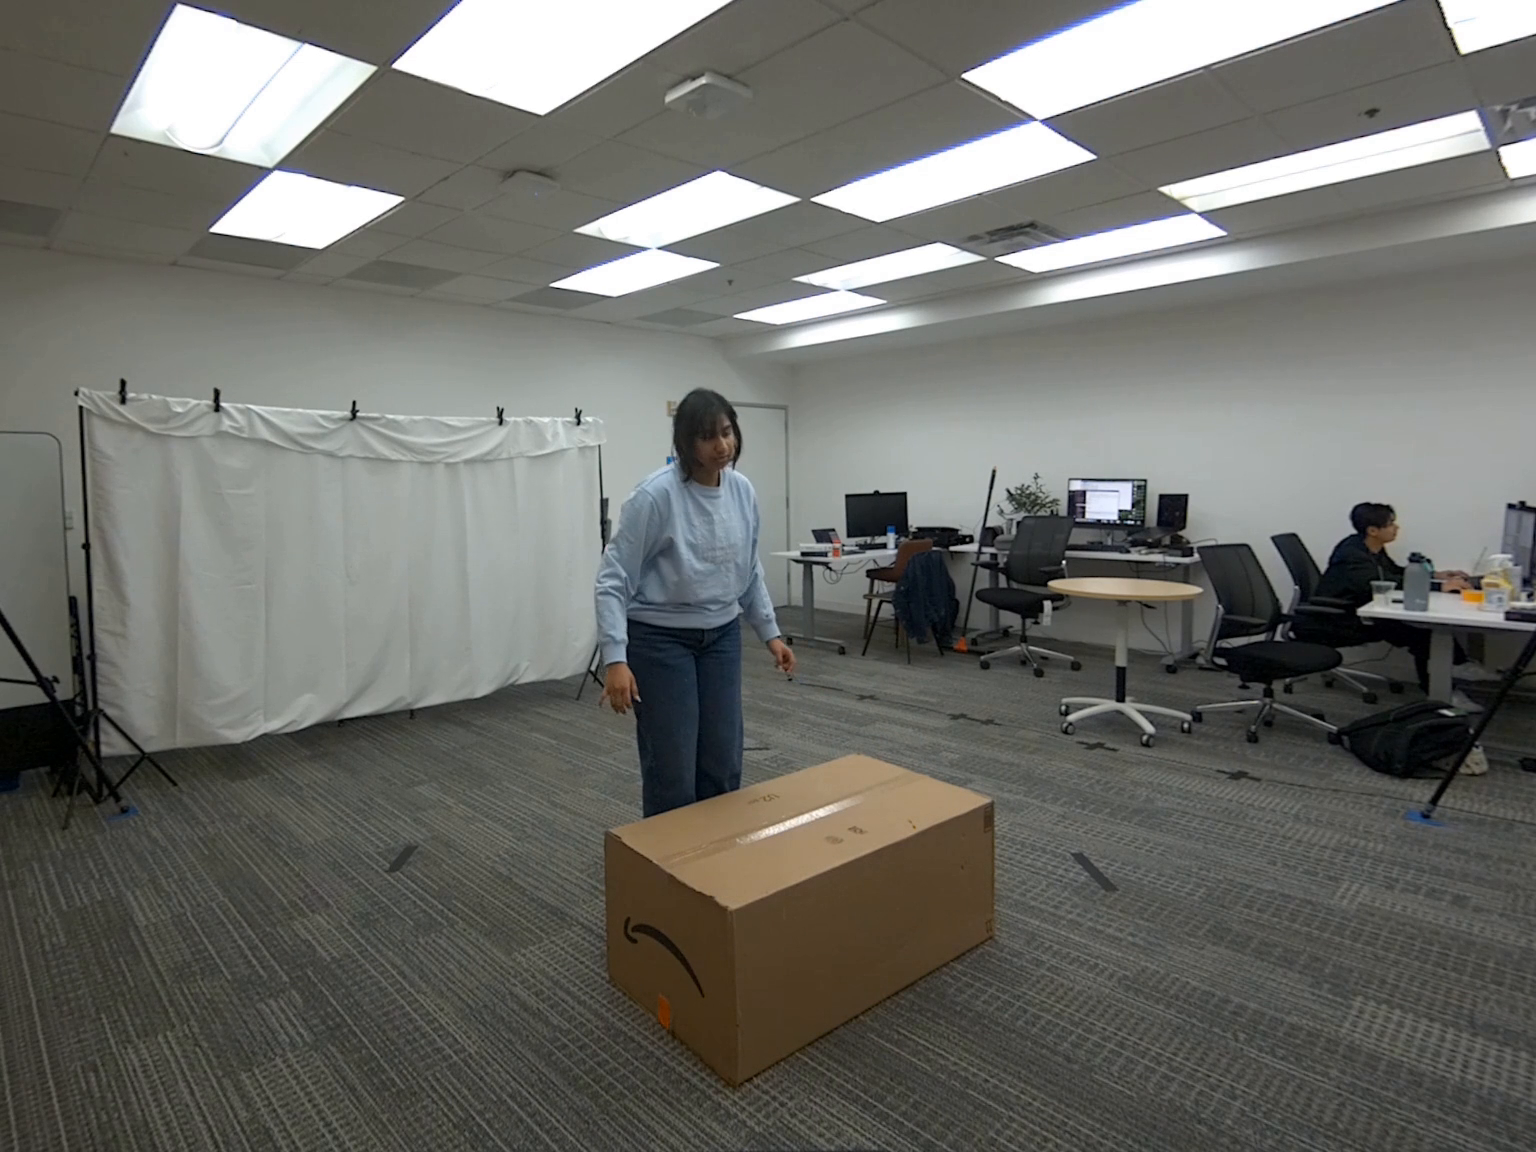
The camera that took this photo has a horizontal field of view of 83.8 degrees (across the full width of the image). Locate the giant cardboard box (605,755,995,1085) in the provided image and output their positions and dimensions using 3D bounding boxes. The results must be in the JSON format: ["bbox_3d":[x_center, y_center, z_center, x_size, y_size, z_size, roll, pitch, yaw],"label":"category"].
[{"bbox_3d":[0.118,0.901,2.484,0.999,0.424,0.595,-6,8,-39],"label":"giant cardboard box"}]
